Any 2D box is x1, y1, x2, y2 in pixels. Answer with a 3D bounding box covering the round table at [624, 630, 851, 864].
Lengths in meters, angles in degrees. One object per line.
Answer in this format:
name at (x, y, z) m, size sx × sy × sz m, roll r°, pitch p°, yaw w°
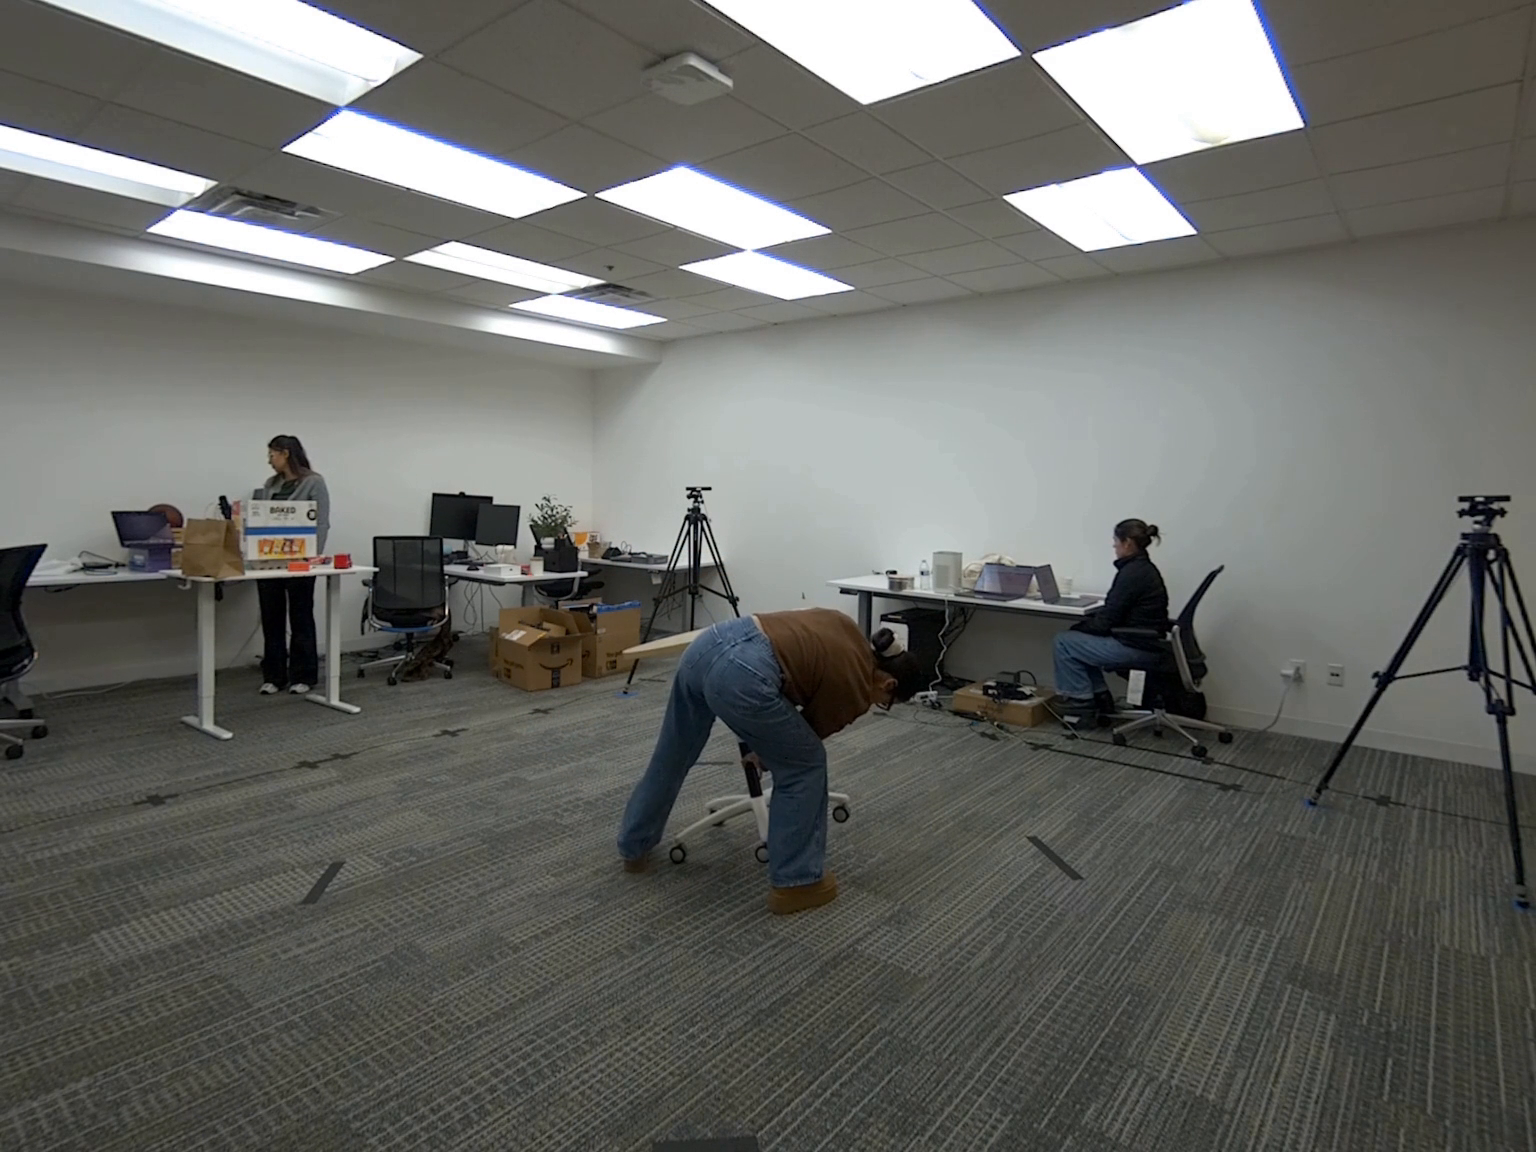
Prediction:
round table at (-0.105, 0.601, 3.297) m, size 0.763 × 0.797 × 0.763 m, roll -13°, pitch -2°, yaw -2°
